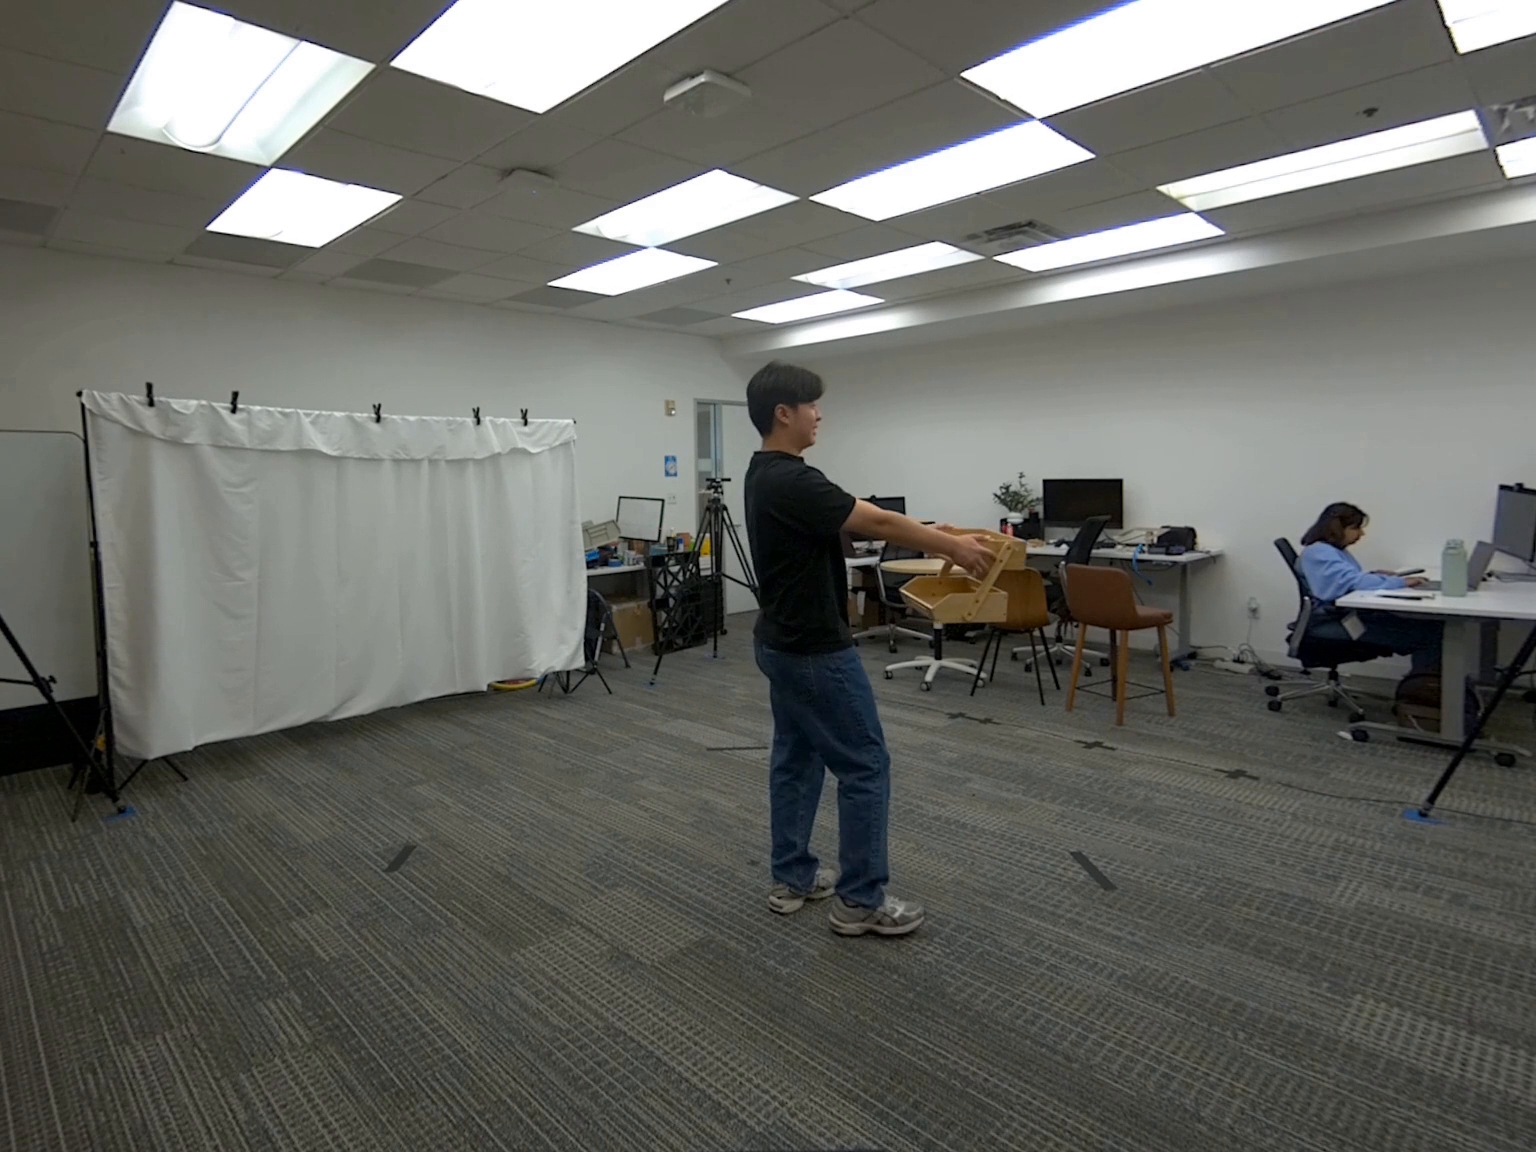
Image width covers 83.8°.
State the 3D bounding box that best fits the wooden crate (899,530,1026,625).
[{"bbox_3d":[0.619,-0.014,2.820,0.299,0.271,0.330,1,9,-11],"label":"wooden crate"}]
